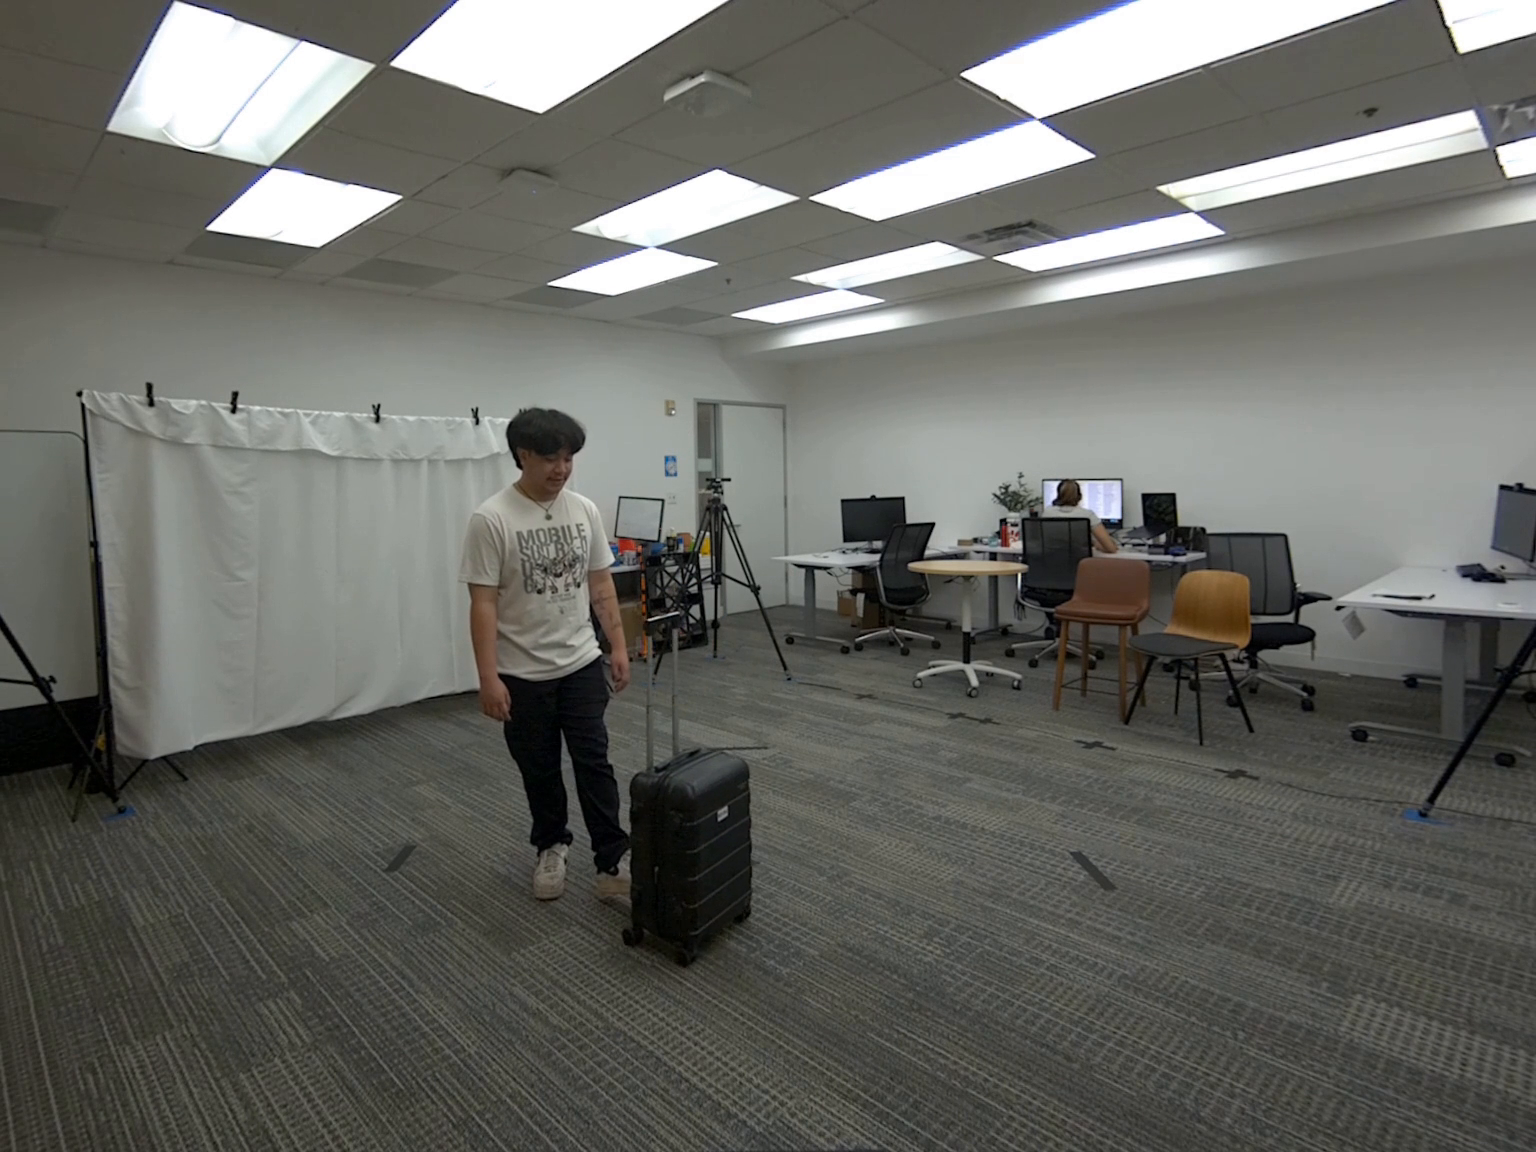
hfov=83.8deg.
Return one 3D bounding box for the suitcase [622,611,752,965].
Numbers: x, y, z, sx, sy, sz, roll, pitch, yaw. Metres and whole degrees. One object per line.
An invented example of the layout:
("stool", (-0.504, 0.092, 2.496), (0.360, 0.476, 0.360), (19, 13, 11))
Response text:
("suitcase", (-0.221, 0.629, 2.592), (0.264, 0.974, 0.375), (5, 7, 31))
